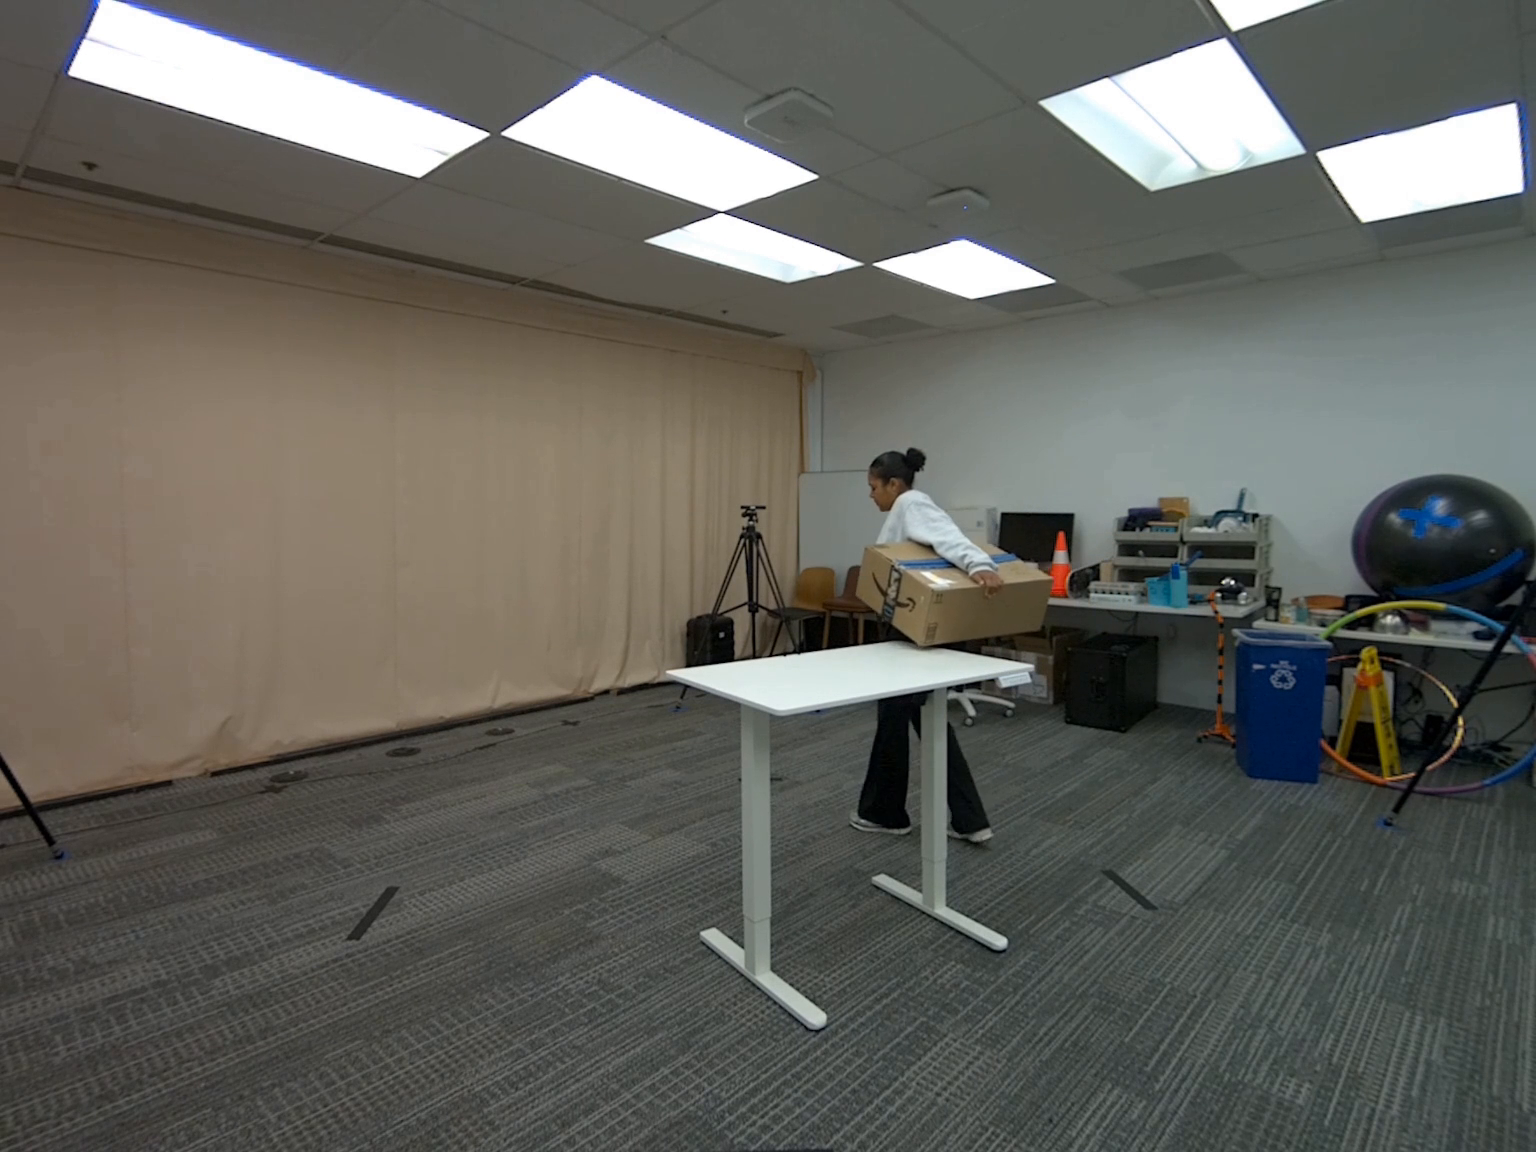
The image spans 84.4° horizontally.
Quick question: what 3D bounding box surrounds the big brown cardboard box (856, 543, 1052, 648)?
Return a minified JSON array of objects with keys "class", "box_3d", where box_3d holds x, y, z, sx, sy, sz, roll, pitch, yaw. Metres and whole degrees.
[{"class":"big brown cardboard box","box_3d":[0.695,0.041,3.151,0.575,0.231,0.432,-3,24,-26]}]
